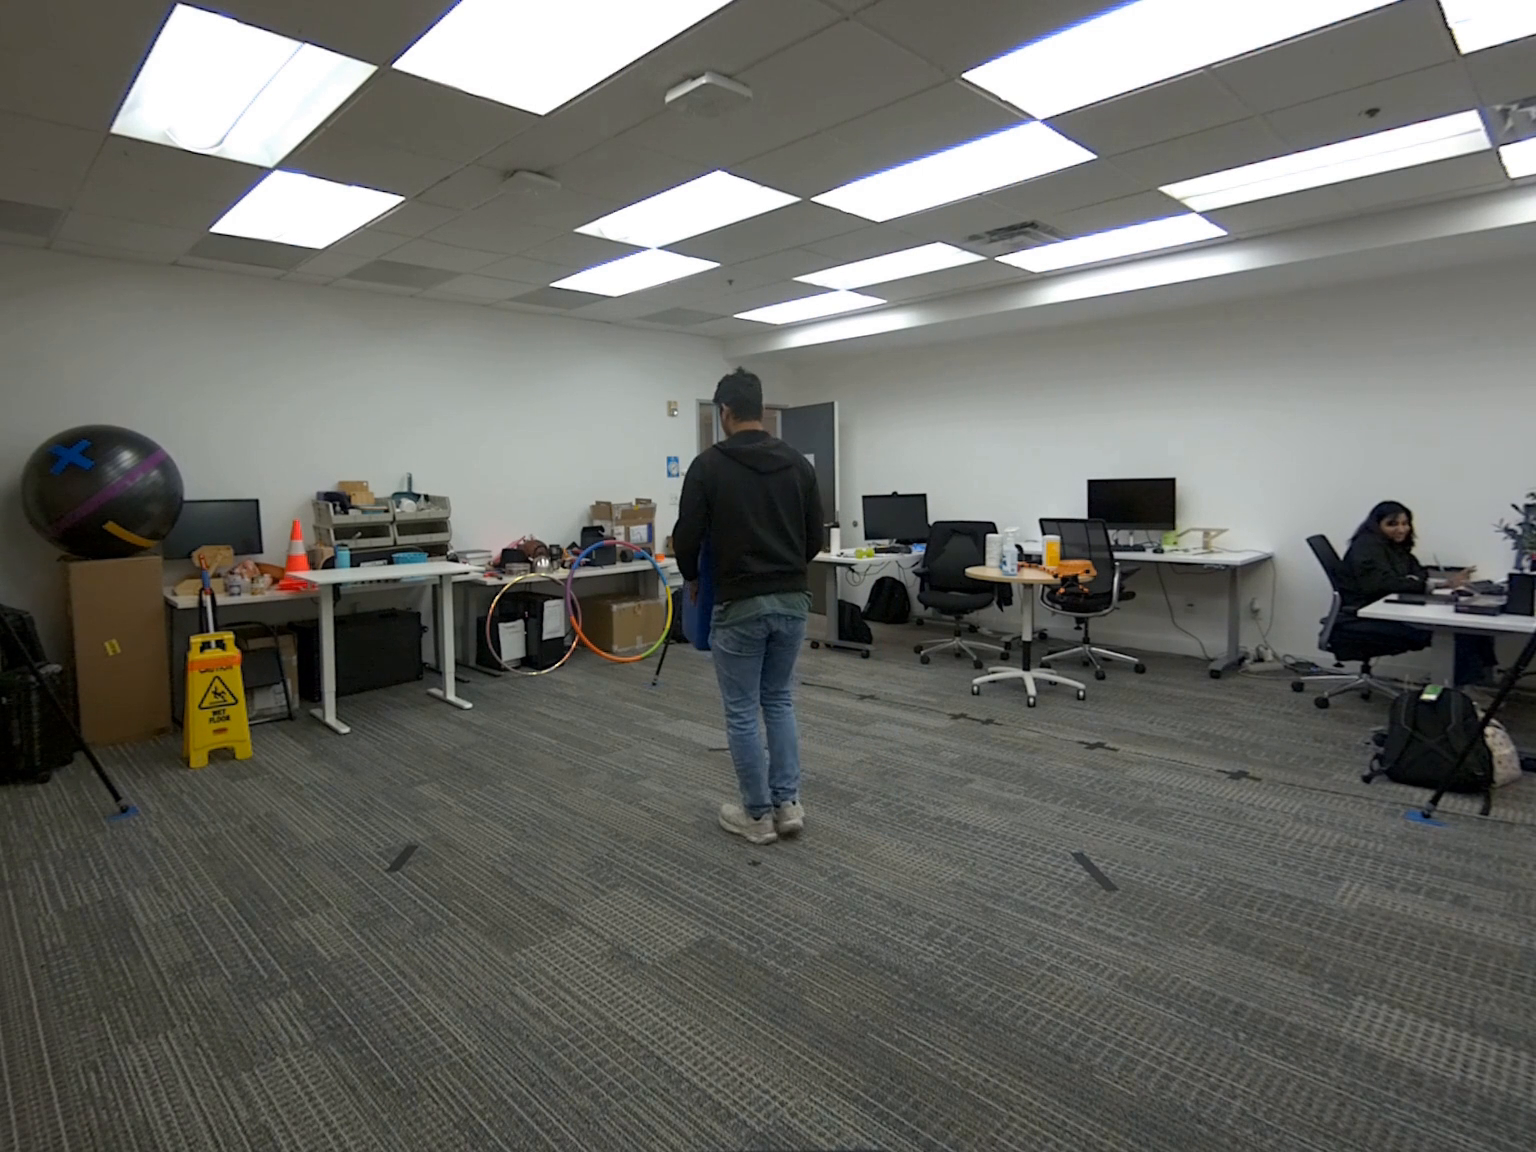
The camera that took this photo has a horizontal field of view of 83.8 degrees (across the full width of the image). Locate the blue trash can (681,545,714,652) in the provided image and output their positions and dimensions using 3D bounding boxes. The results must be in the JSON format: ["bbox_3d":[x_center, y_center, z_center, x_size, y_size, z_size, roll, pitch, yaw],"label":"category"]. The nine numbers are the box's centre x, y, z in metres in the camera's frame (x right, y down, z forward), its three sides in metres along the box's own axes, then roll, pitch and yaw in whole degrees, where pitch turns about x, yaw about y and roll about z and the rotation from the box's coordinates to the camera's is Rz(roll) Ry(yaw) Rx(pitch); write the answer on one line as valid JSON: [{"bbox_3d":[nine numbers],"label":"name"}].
[{"bbox_3d":[-0.166,-0.078,3.623,0.372,0.708,0.383,1,9,-17],"label":"blue trash can"}]
